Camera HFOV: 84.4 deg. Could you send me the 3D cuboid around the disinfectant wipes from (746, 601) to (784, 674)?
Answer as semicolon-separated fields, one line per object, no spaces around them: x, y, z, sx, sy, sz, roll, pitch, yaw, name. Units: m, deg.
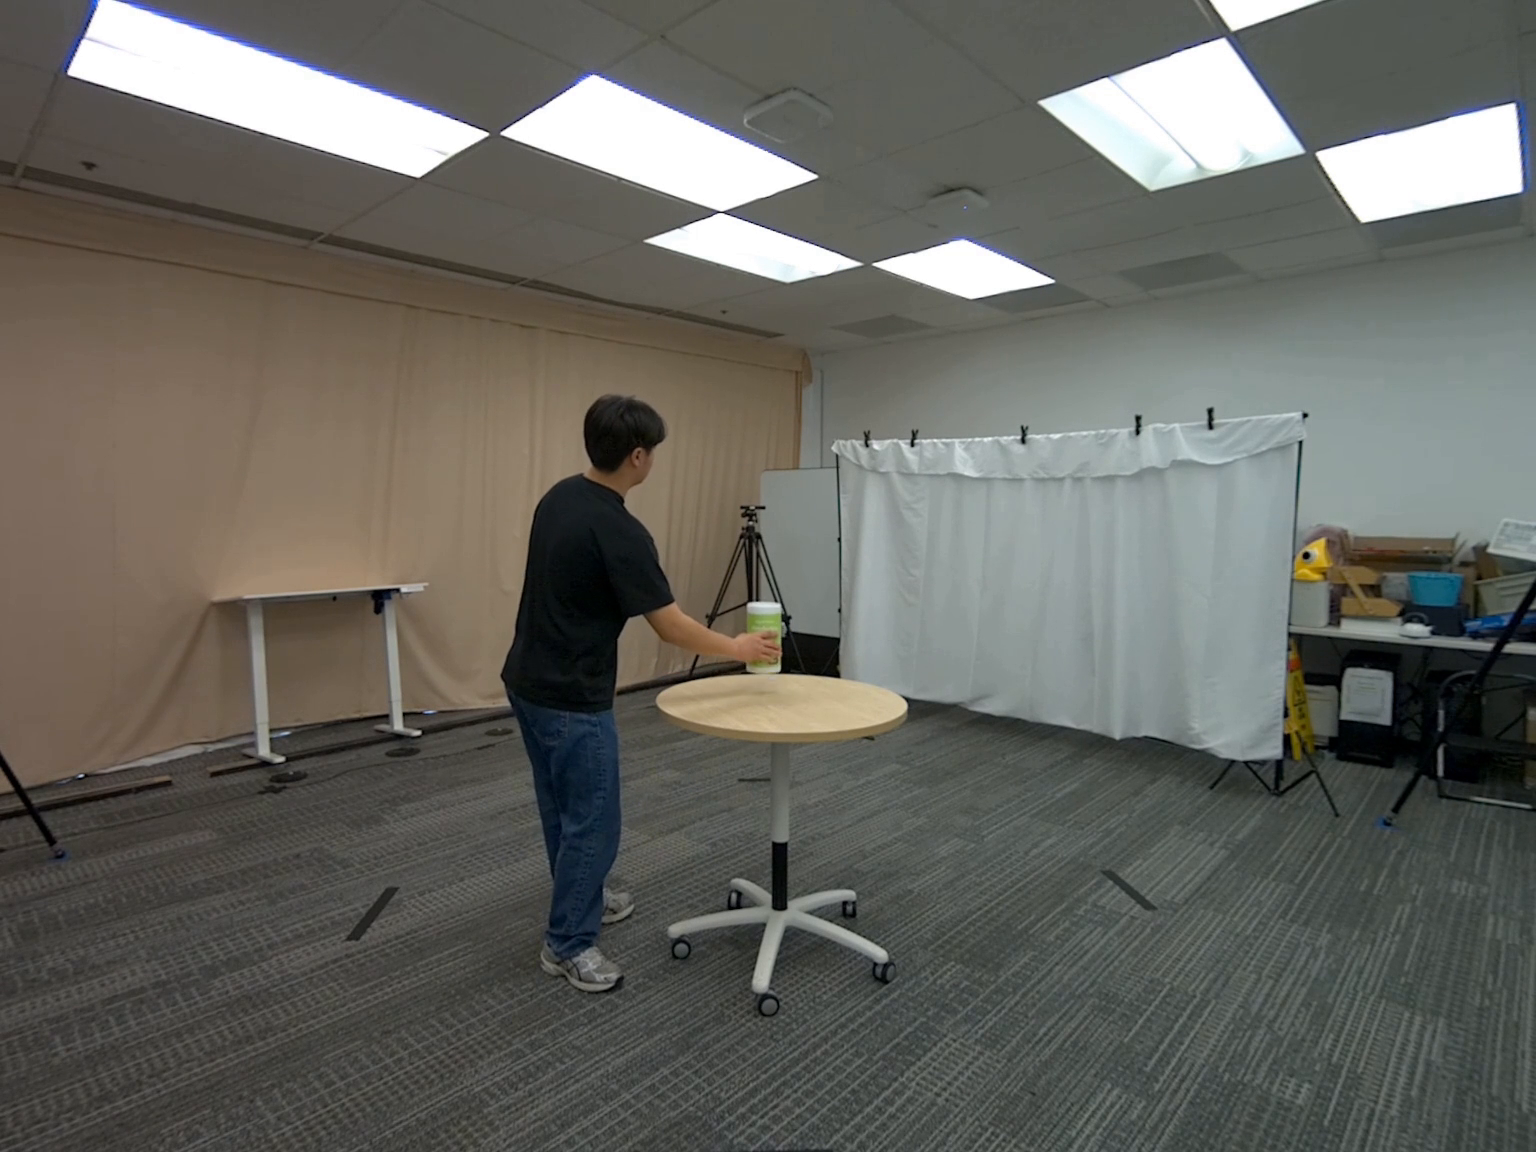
-0.010;0.192;2.656;0.117;0.217;0.118;1;4;-2;disinfectant wipes
